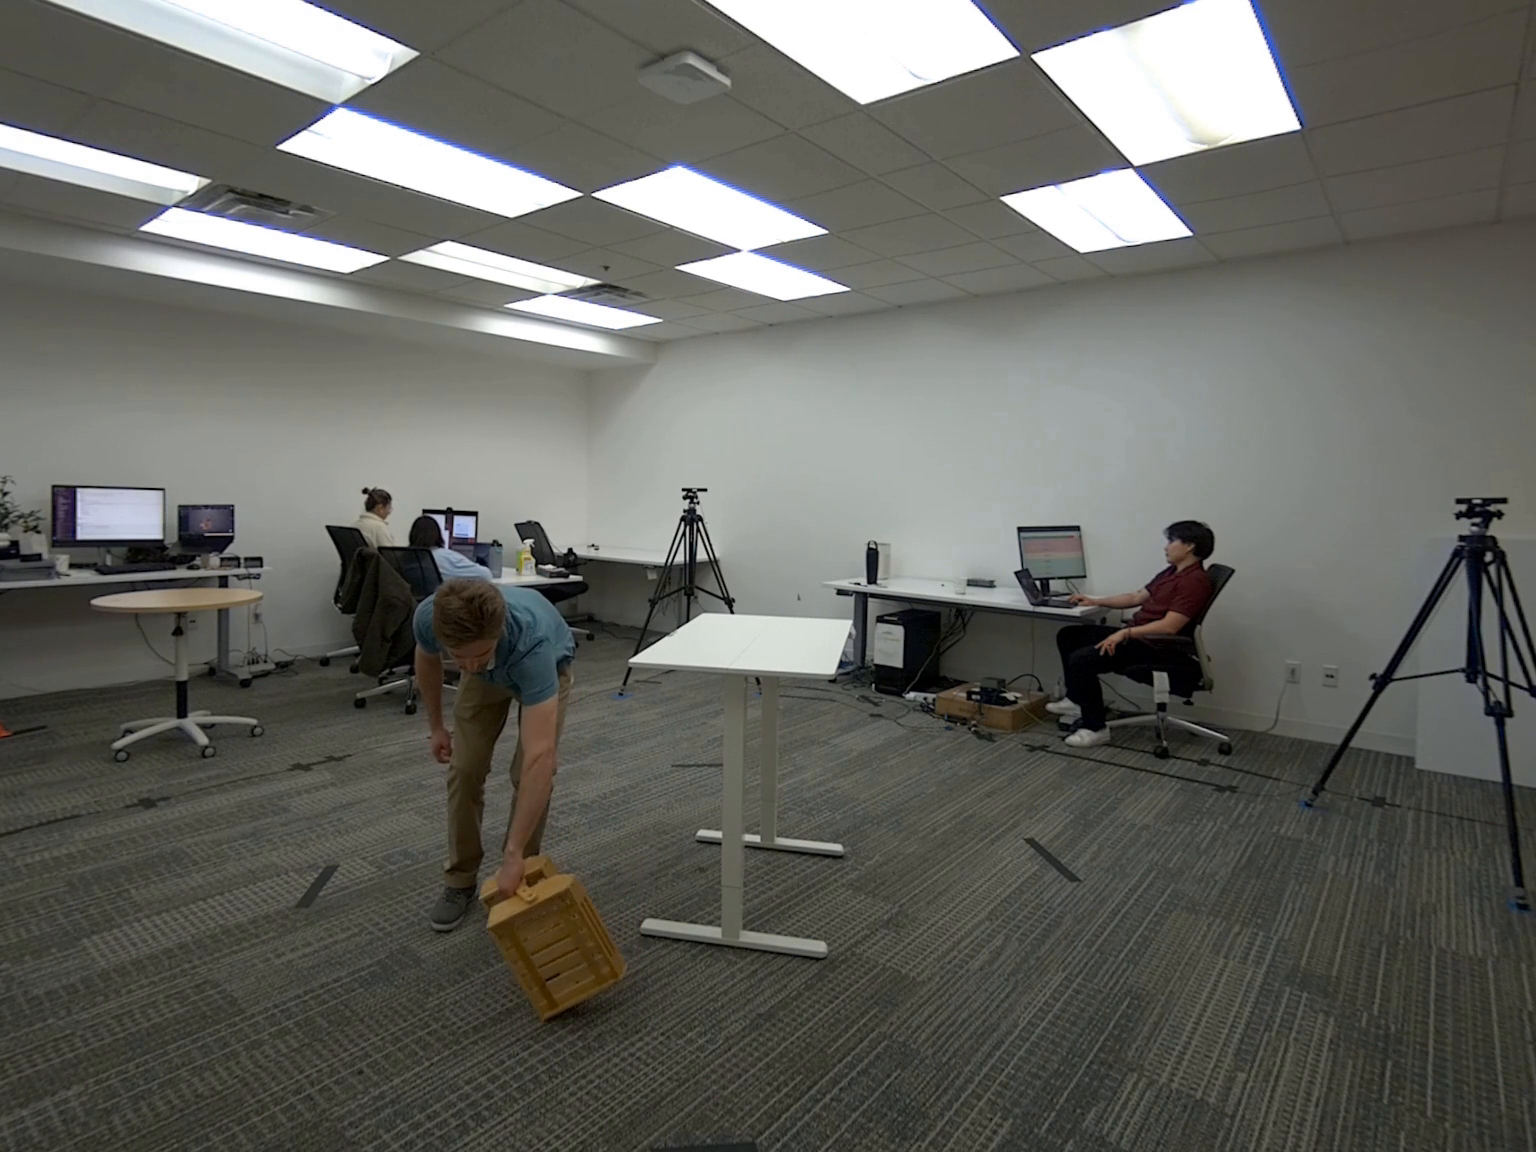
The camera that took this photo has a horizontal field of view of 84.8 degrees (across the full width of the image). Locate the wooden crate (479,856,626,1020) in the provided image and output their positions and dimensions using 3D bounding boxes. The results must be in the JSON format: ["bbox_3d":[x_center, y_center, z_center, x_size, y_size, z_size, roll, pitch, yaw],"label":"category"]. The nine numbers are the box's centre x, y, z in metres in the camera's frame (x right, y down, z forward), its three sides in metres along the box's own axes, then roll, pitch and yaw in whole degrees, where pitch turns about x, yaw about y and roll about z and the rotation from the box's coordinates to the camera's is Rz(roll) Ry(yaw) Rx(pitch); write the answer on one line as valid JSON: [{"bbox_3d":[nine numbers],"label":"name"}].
[{"bbox_3d":[-0.595,0.949,2.307,0.301,0.319,0.278,-27,13,-5],"label":"wooden crate"}]
